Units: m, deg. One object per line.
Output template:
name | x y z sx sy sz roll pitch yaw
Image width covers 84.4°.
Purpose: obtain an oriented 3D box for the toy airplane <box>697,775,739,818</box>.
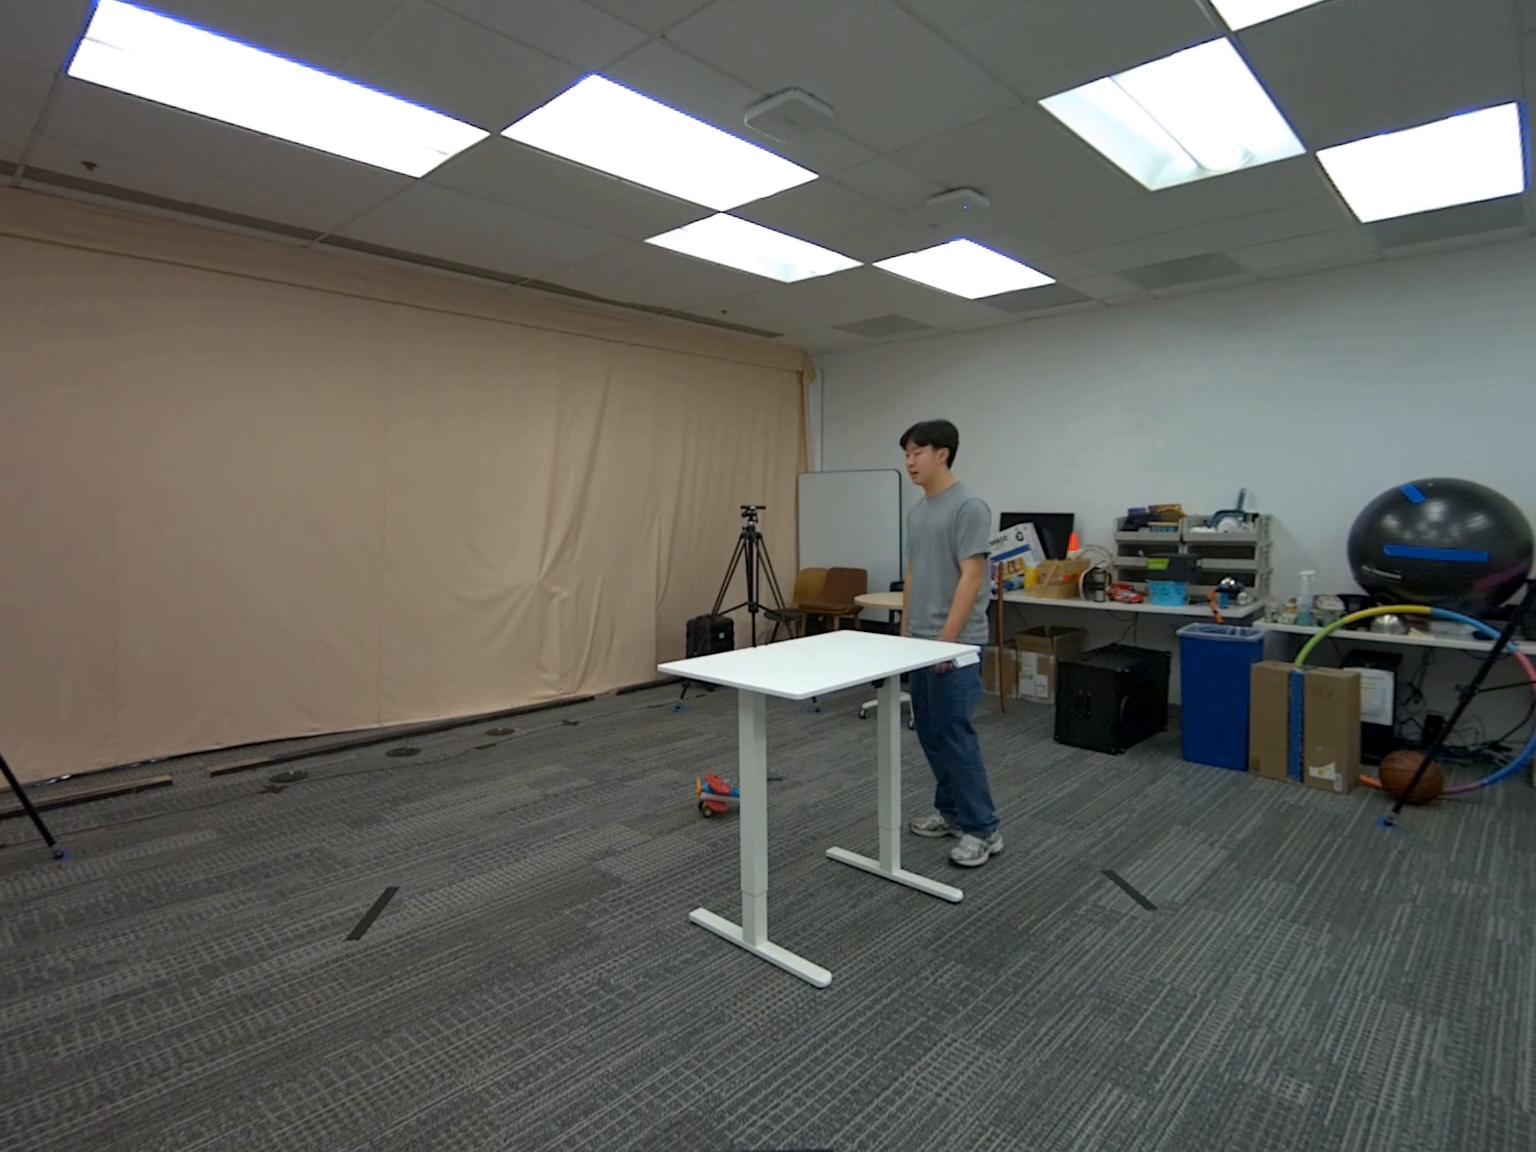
toy airplane | -0.207 1.007 3.860 0.251 0.156 0.259 -5 6 -44
